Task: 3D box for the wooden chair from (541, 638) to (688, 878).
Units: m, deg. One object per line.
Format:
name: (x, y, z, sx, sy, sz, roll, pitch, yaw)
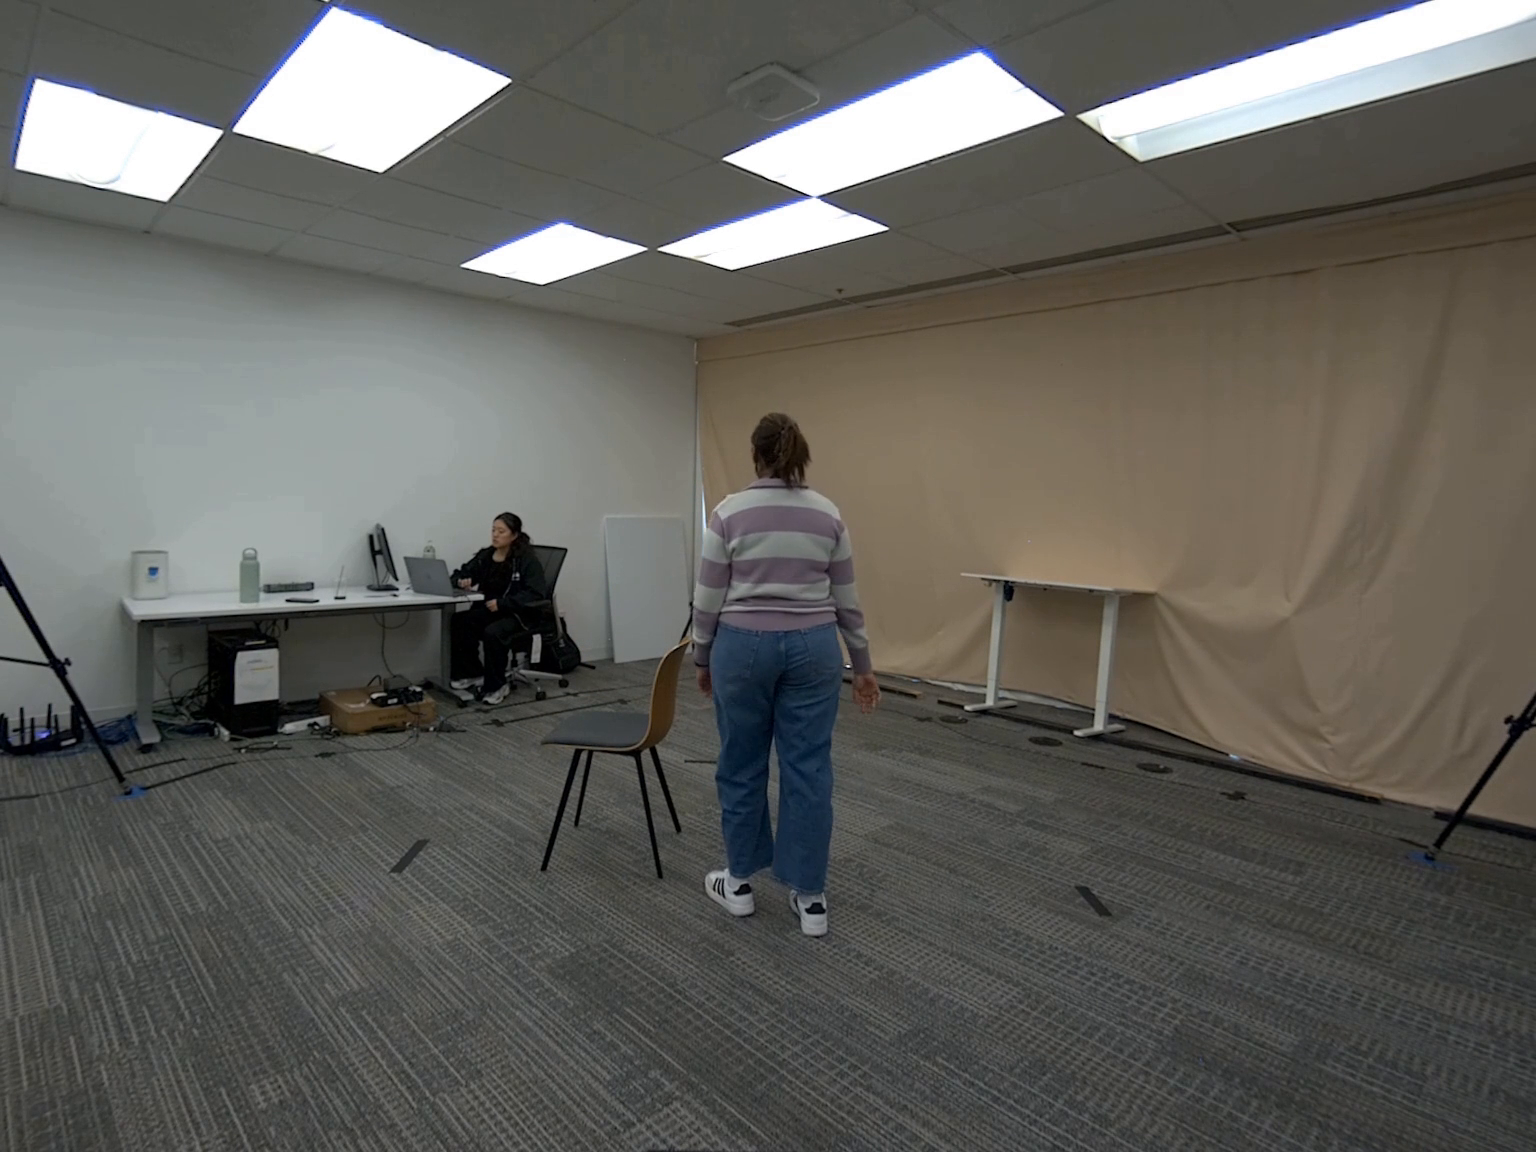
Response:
wooden chair: (-0.598, 0.652, 3.264, 0.525, 0.875, 0.478, 5, 4, 3)
